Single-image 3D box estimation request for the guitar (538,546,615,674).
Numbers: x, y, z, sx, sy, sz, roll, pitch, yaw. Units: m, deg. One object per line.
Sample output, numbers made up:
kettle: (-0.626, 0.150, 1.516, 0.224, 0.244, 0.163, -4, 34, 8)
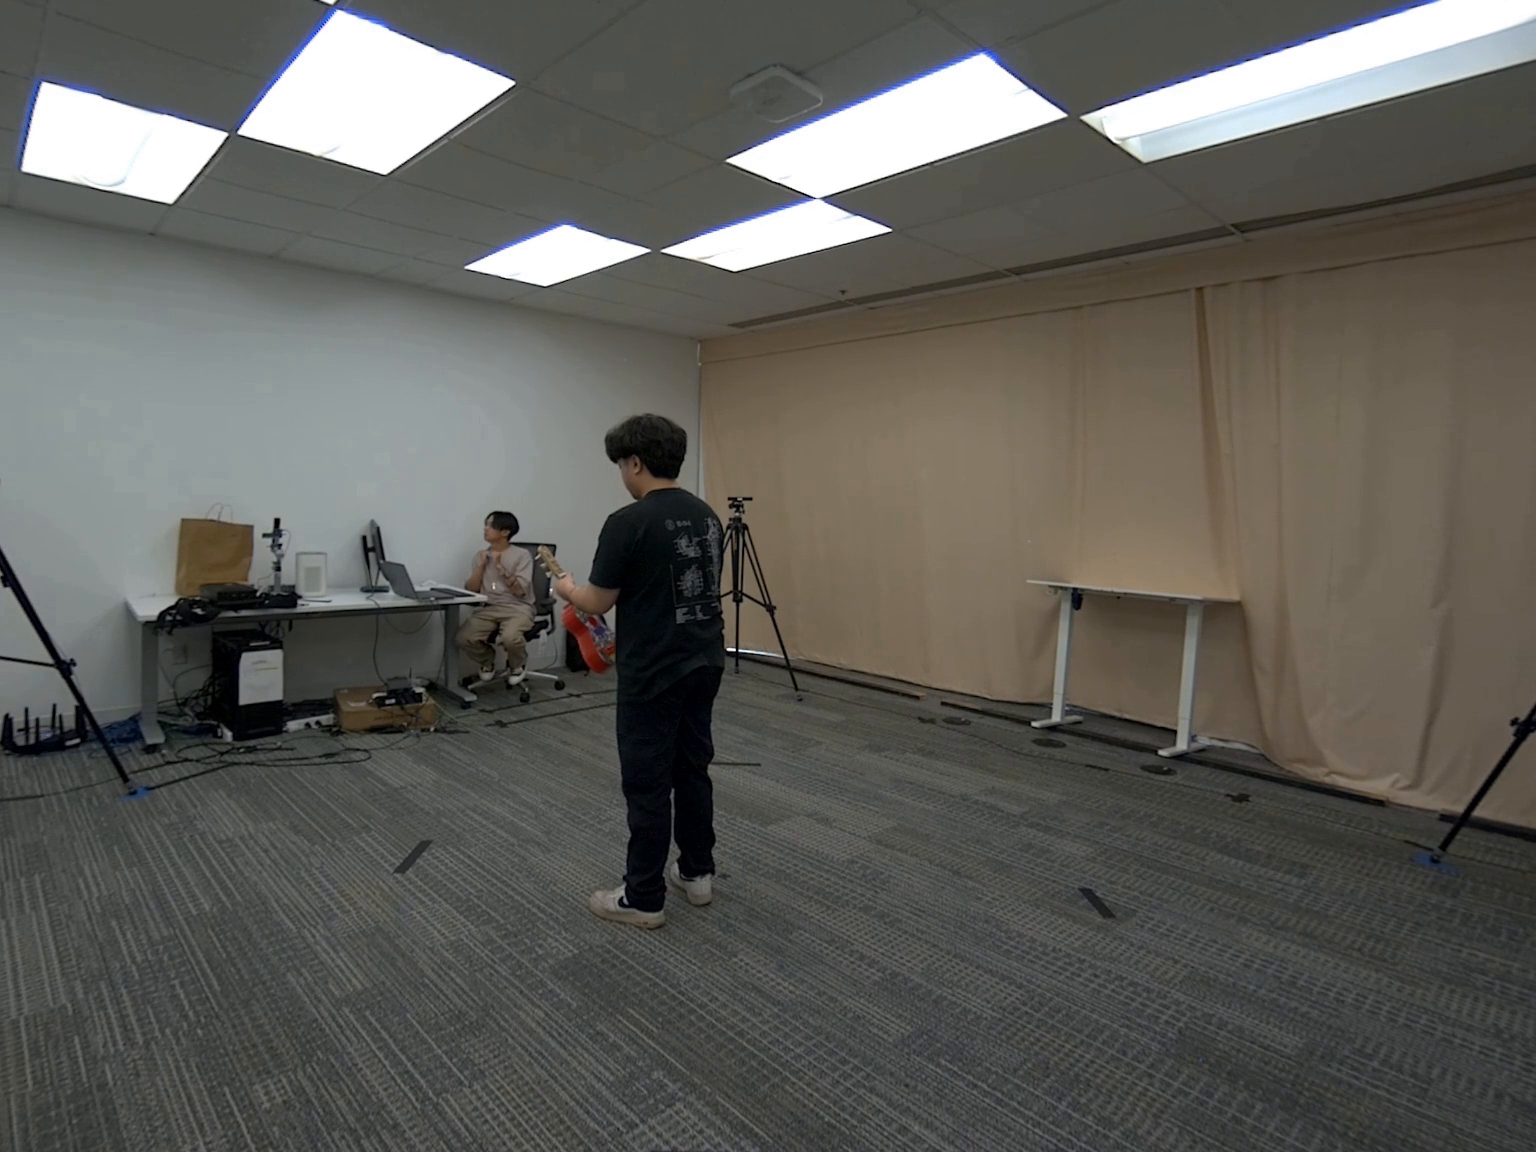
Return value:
guitar: (-0.679, 0.115, 3.020, 0.071, 0.504, 0.190, -35, -12, 17)
